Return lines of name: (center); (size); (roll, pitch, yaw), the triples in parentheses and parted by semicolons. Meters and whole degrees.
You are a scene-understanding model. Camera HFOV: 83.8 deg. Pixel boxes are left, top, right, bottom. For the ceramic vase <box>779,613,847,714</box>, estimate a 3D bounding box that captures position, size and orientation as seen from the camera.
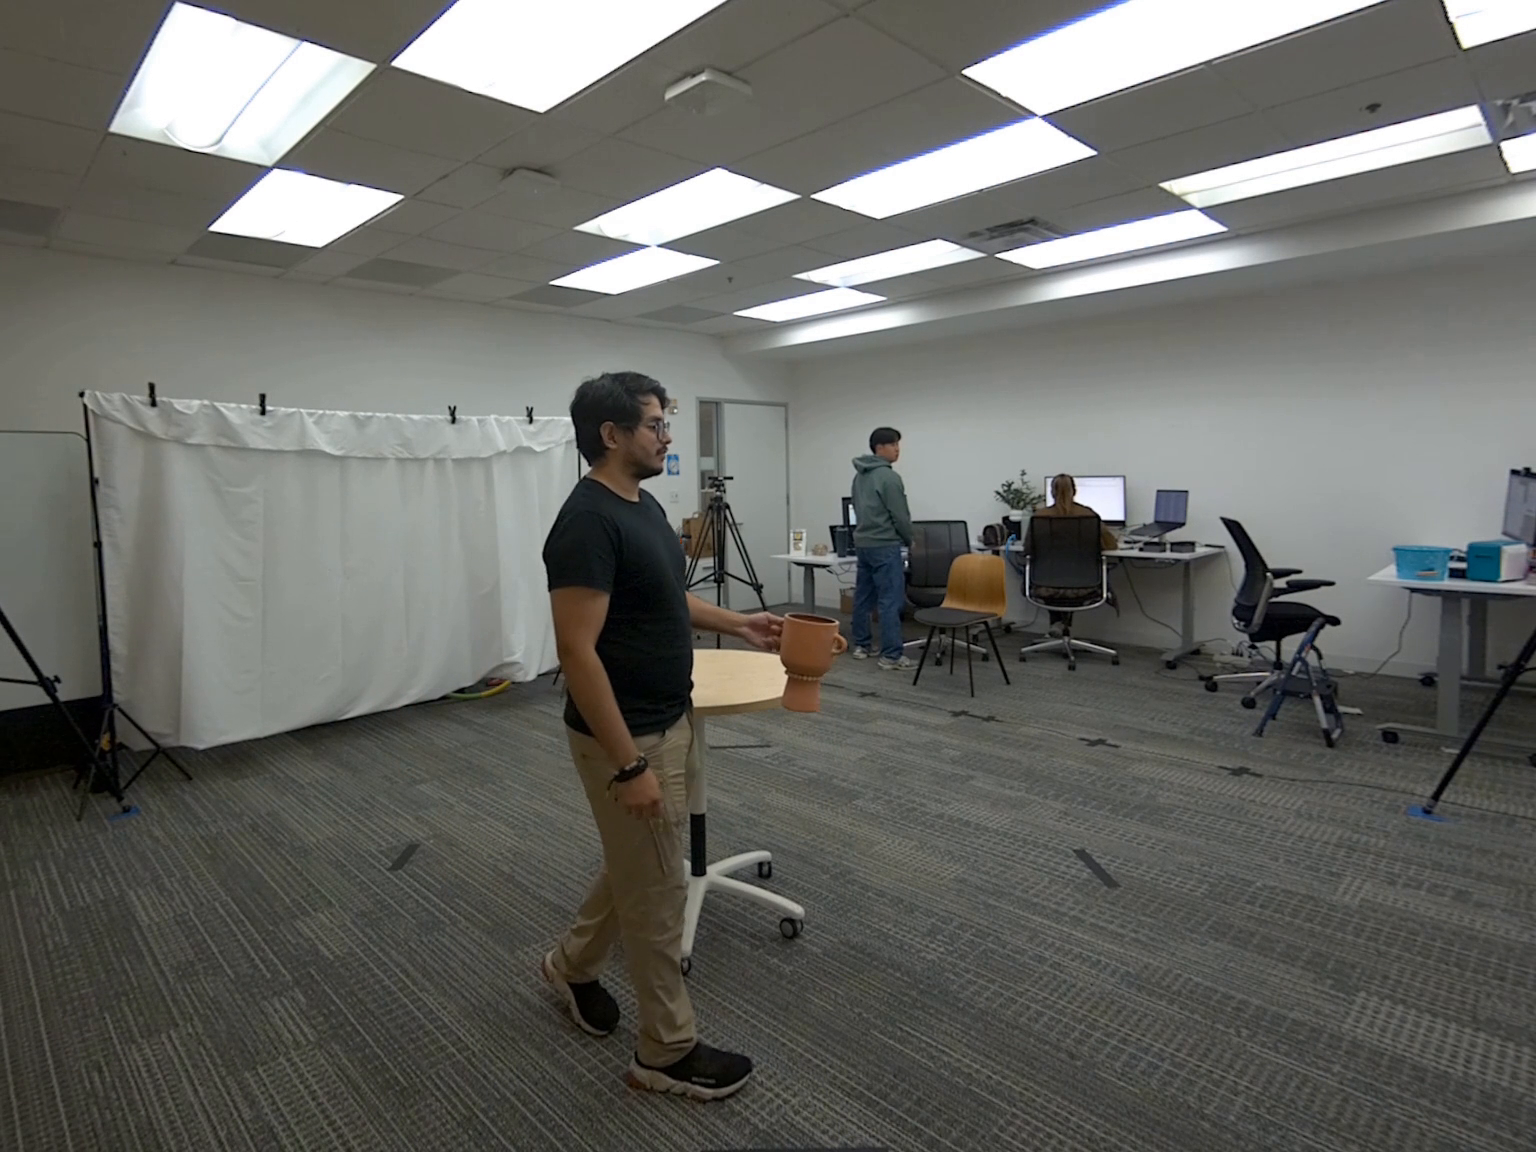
ceramic vase: (0.095, 0.212, 2.069); (0.132, 0.219, 0.162); (4, 5, -18)
